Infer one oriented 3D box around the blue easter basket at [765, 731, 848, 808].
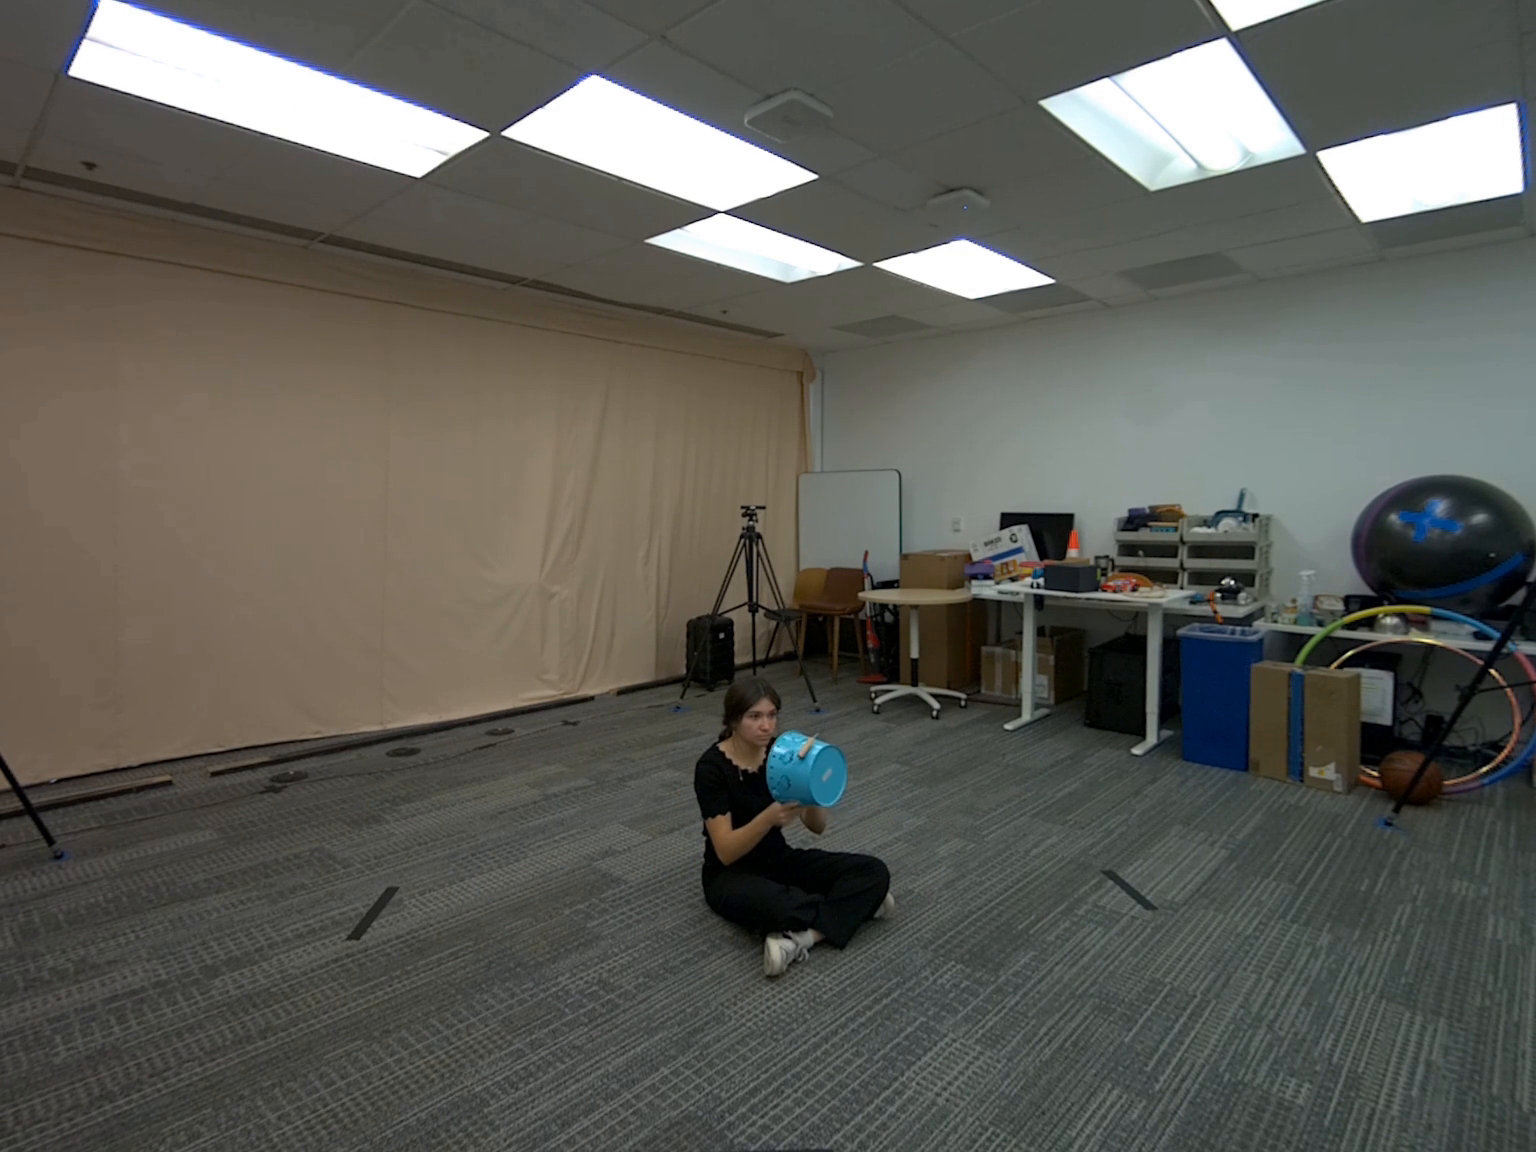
[{"bbox_3d":[0.132,0.605,2.595,0.161,0.243,0.236,-3,1,45],"label":"blue easter basket"}]
